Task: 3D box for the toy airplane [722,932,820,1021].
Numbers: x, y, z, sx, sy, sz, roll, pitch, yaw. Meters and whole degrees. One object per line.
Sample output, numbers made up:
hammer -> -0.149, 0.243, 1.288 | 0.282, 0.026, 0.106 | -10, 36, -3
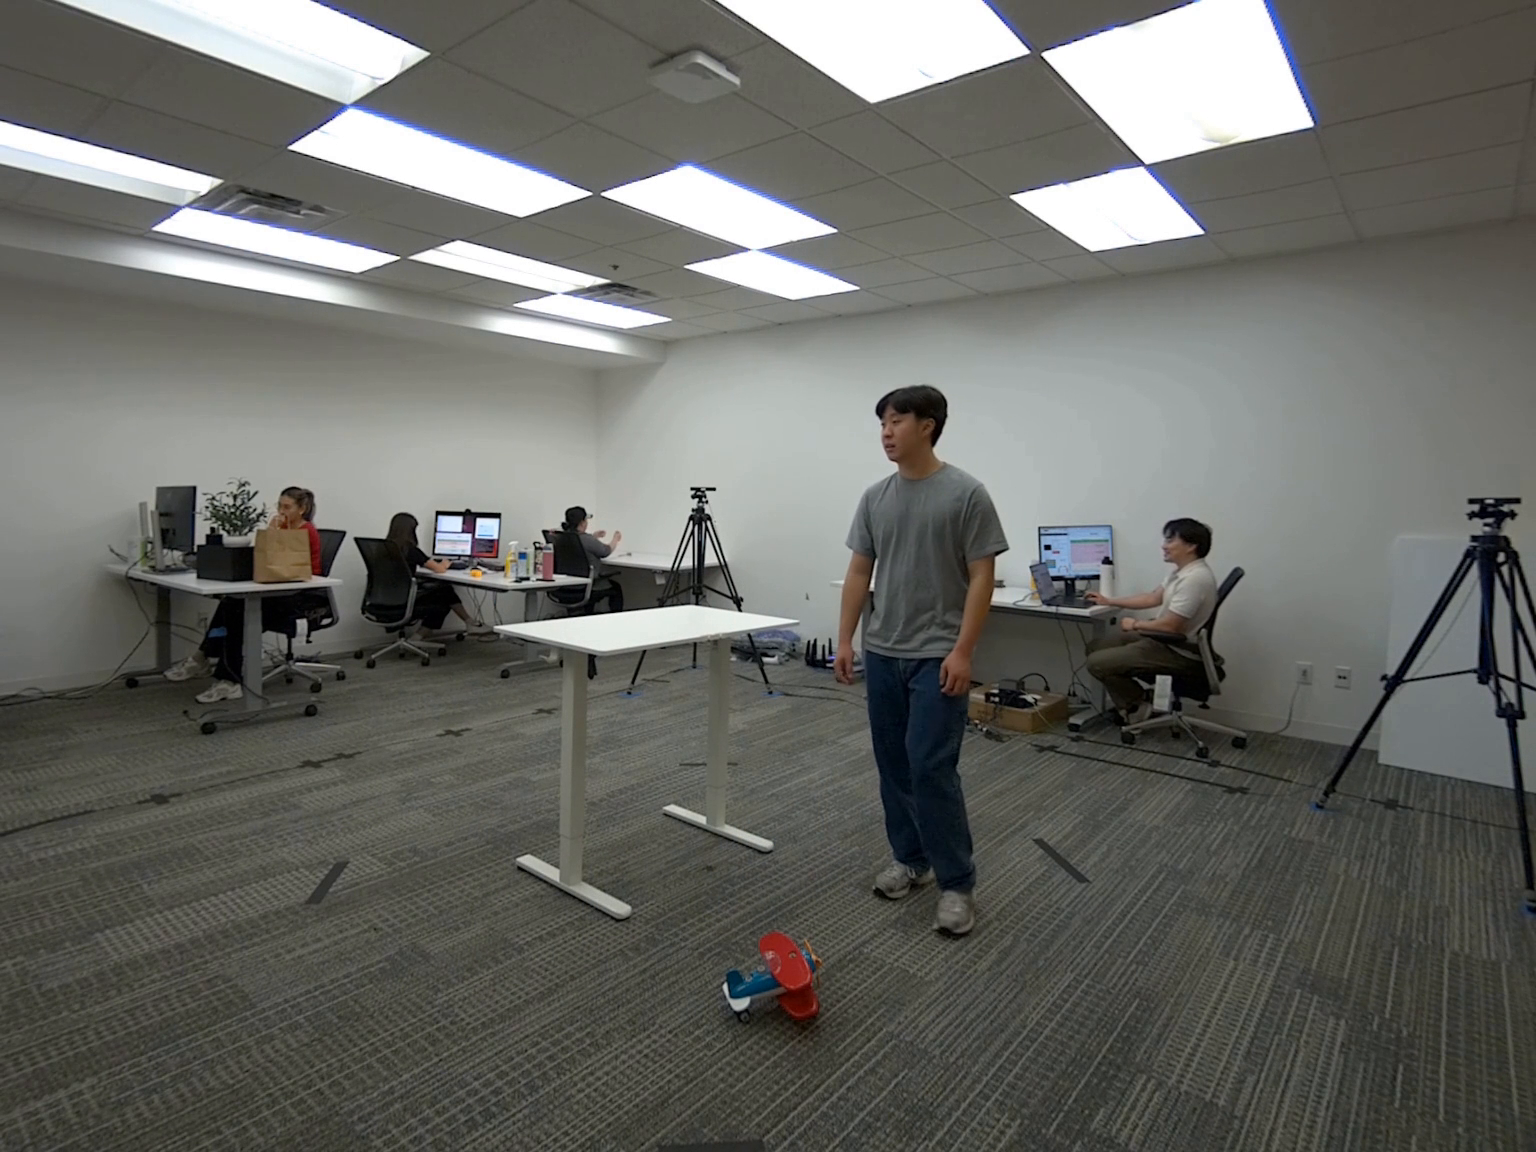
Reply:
toy airplane -> 0.021, 1.085, 2.239 | 0.260, 0.156, 0.251 | 5, 6, 42
